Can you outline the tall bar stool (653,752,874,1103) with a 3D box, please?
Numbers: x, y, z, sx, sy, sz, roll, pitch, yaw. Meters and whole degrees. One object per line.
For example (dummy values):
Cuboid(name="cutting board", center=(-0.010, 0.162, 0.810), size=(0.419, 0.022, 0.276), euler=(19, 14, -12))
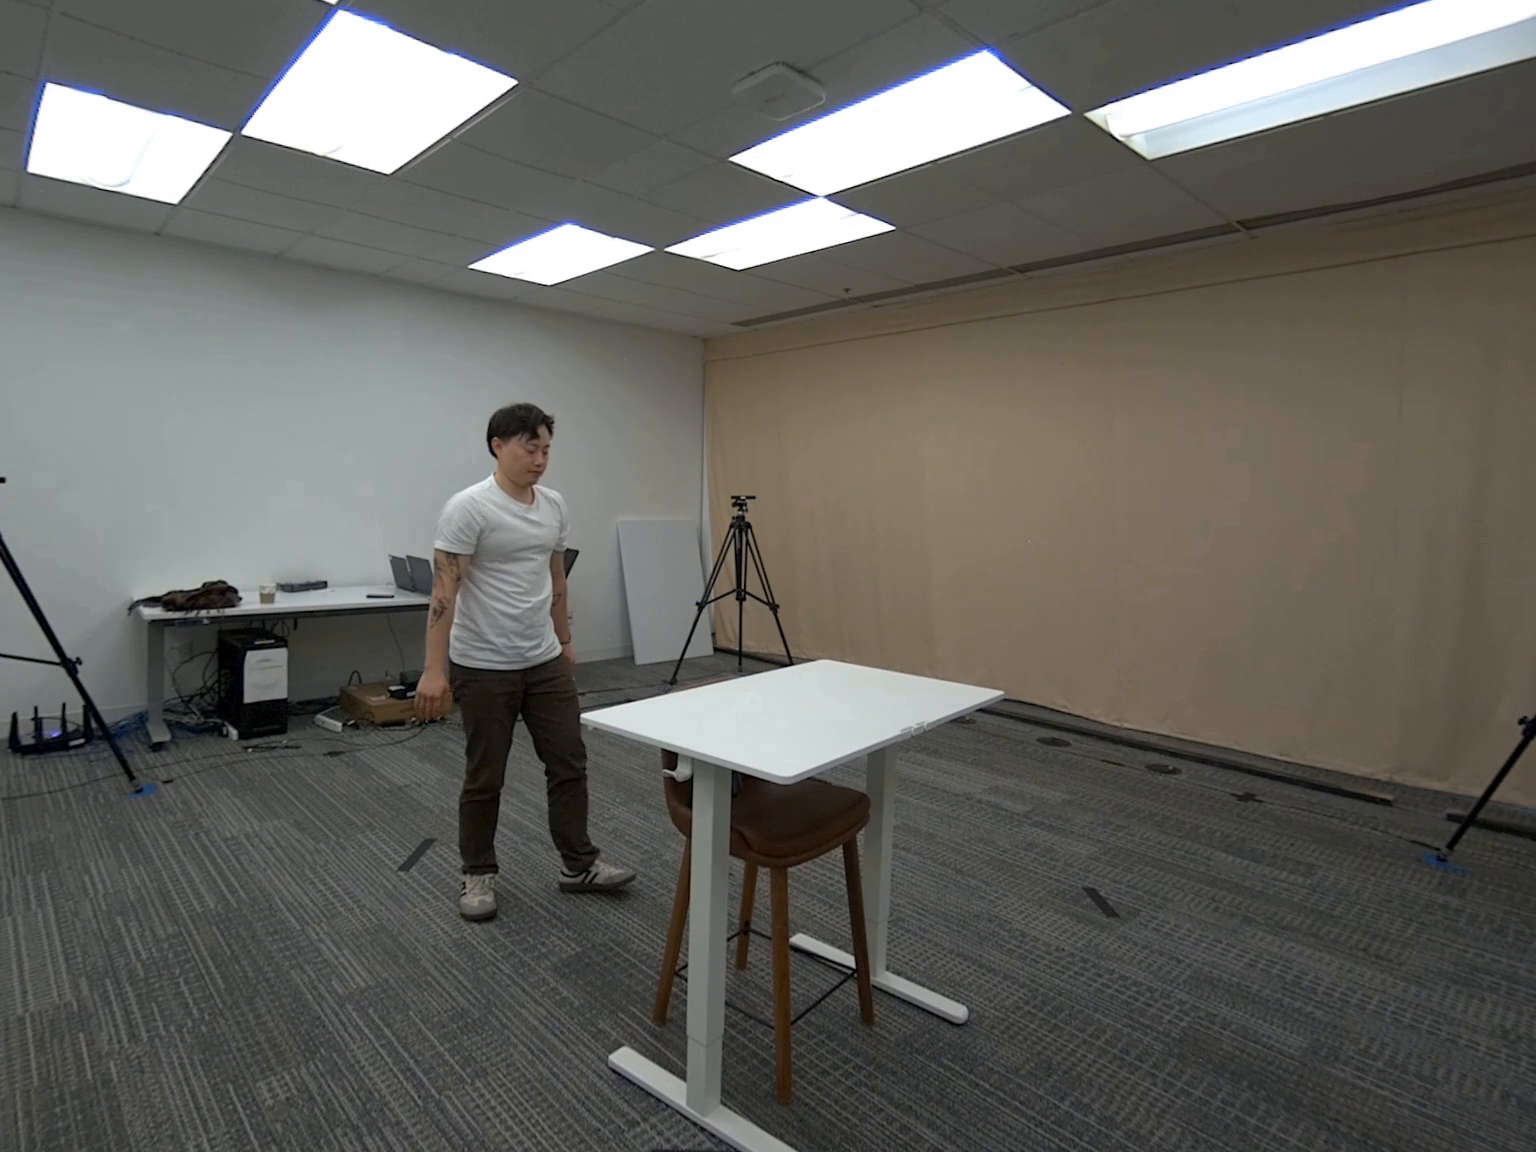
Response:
Cuboid(name="tall bar stool", center=(-0.018, 0.752, 2.208), size=(0.479, 0.888, 0.446), euler=(2, 3, 39))
